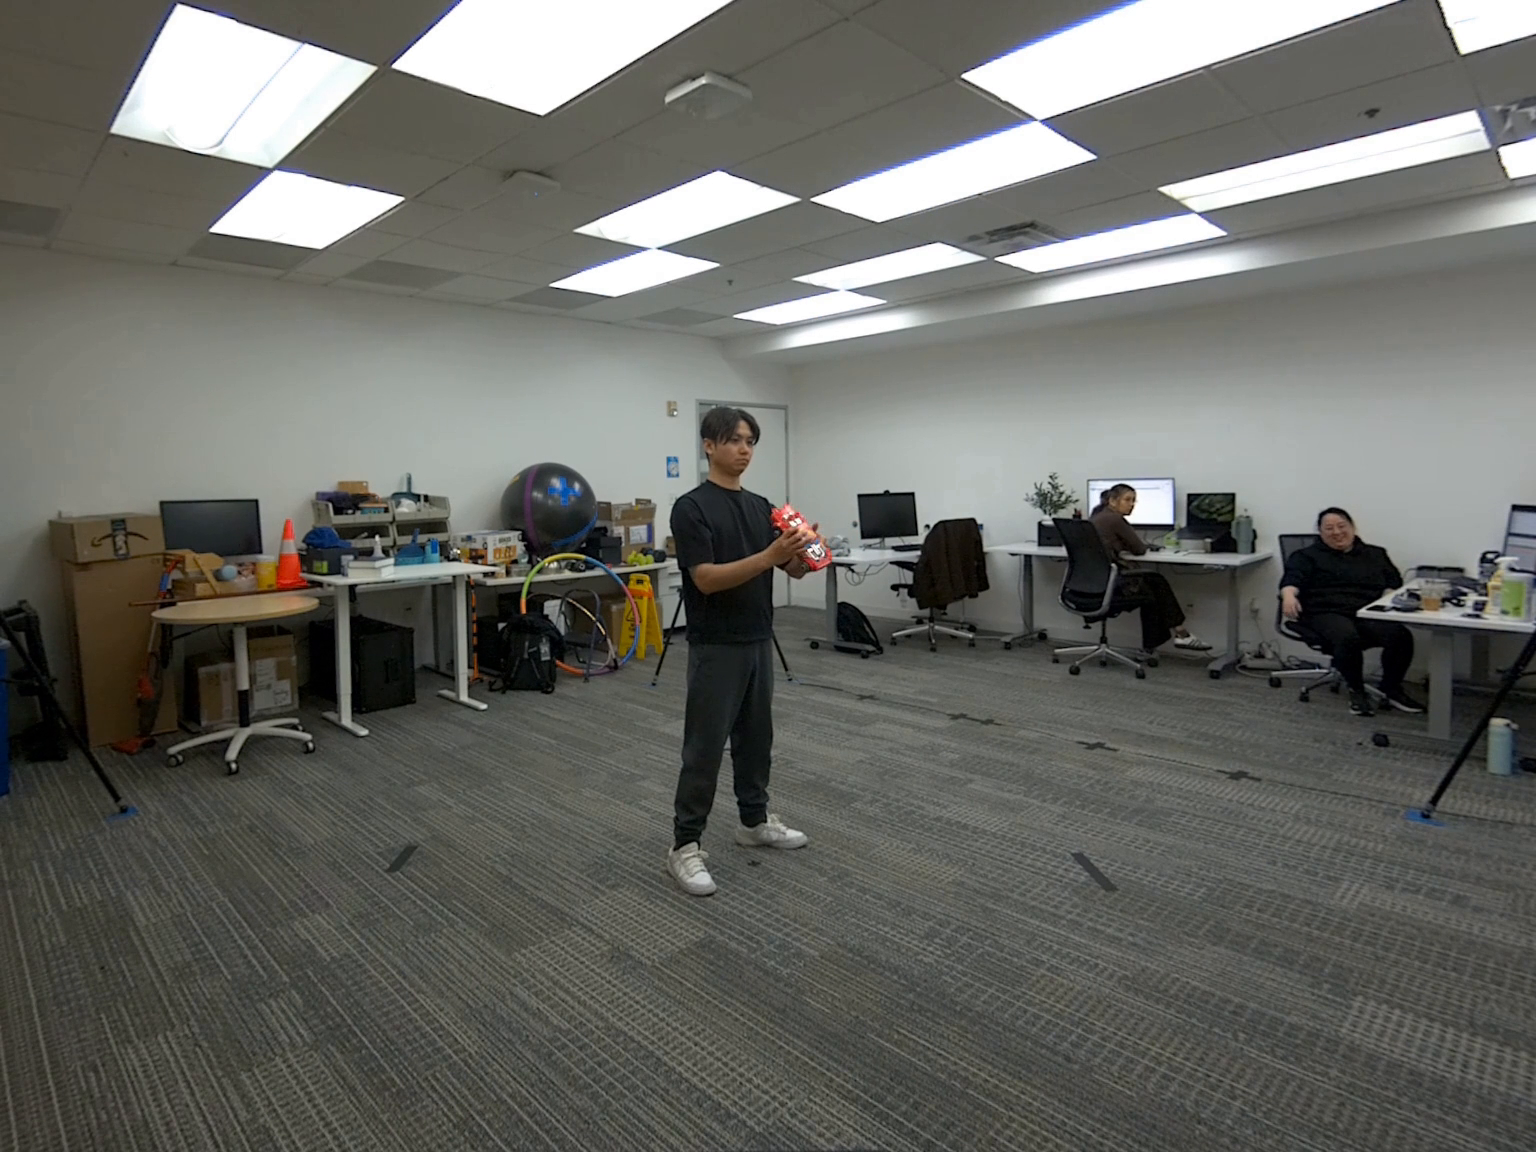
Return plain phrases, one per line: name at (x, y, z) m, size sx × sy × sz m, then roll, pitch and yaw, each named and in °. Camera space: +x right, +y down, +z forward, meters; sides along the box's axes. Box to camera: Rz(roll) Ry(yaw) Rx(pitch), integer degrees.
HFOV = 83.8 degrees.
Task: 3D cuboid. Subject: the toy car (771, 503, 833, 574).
toy car at (0.101, -0.123, 2.829) m, size 0.128 × 0.257 × 0.083 m, roll -26°, pitch -10°, yaw -34°
